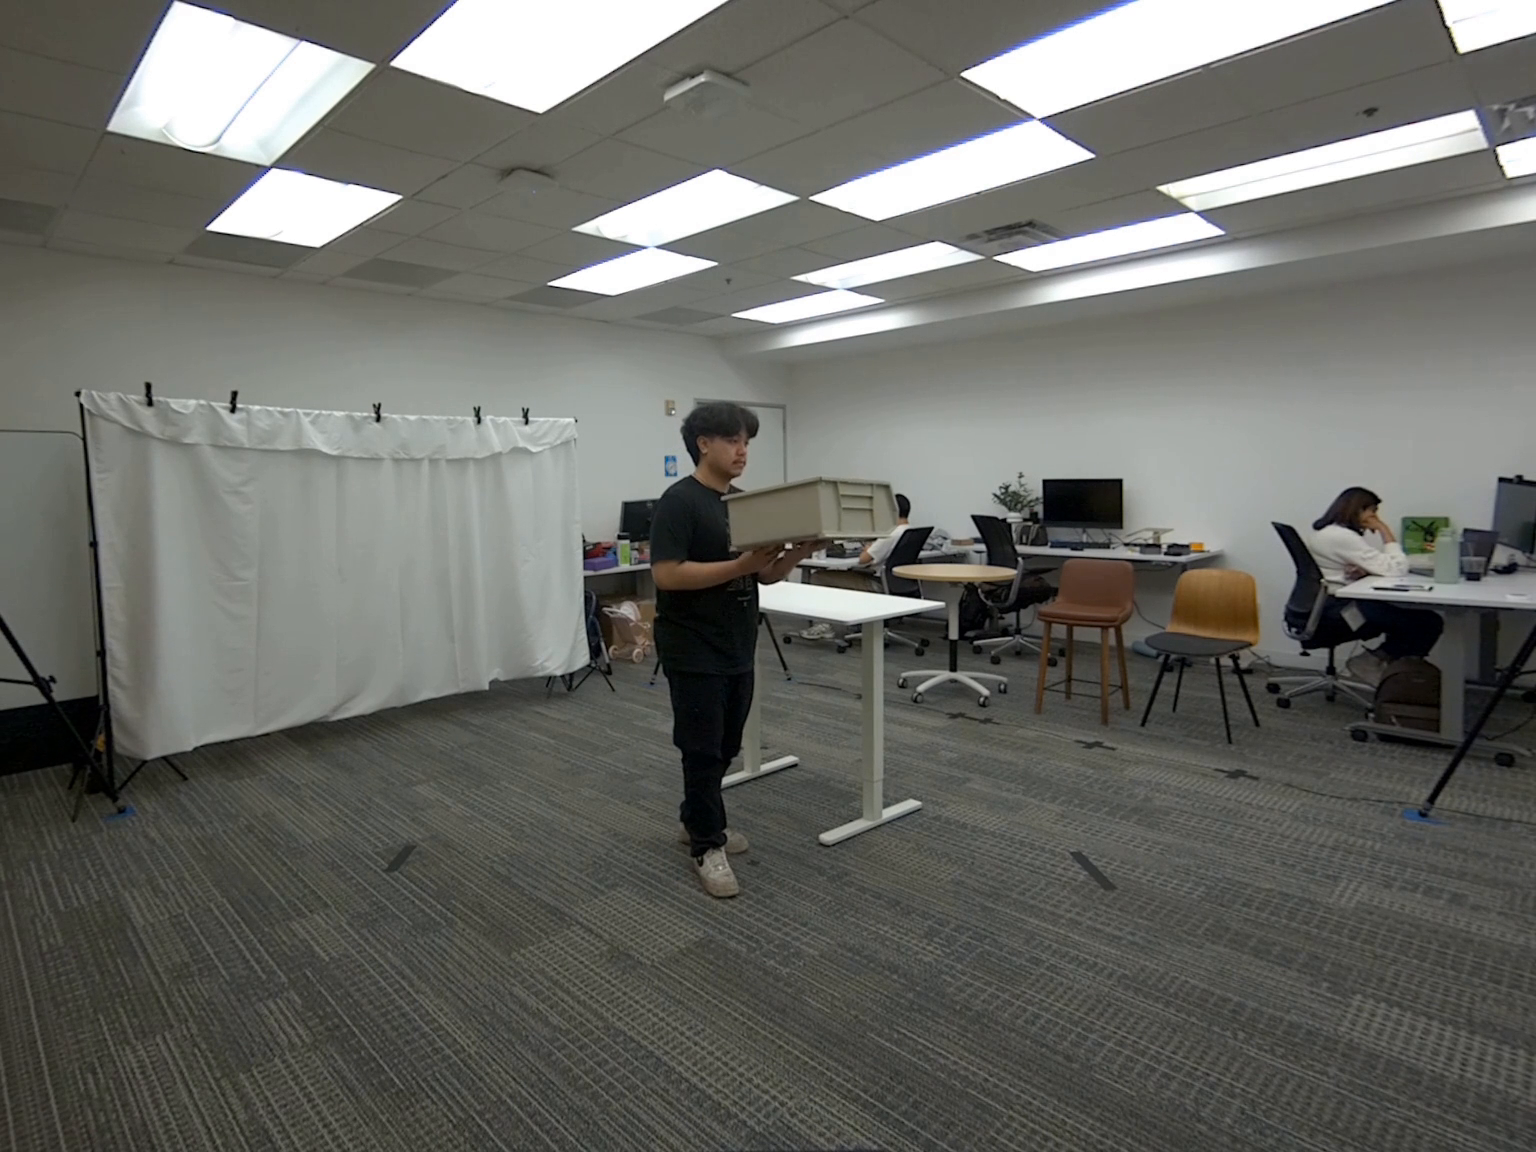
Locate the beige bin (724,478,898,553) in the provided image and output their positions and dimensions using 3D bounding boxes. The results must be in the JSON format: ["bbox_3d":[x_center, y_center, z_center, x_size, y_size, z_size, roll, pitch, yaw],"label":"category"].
[{"bbox_3d":[0.134,-0.186,2.734,0.367,0.189,0.433,-3,-1,-45],"label":"beige bin"}]
